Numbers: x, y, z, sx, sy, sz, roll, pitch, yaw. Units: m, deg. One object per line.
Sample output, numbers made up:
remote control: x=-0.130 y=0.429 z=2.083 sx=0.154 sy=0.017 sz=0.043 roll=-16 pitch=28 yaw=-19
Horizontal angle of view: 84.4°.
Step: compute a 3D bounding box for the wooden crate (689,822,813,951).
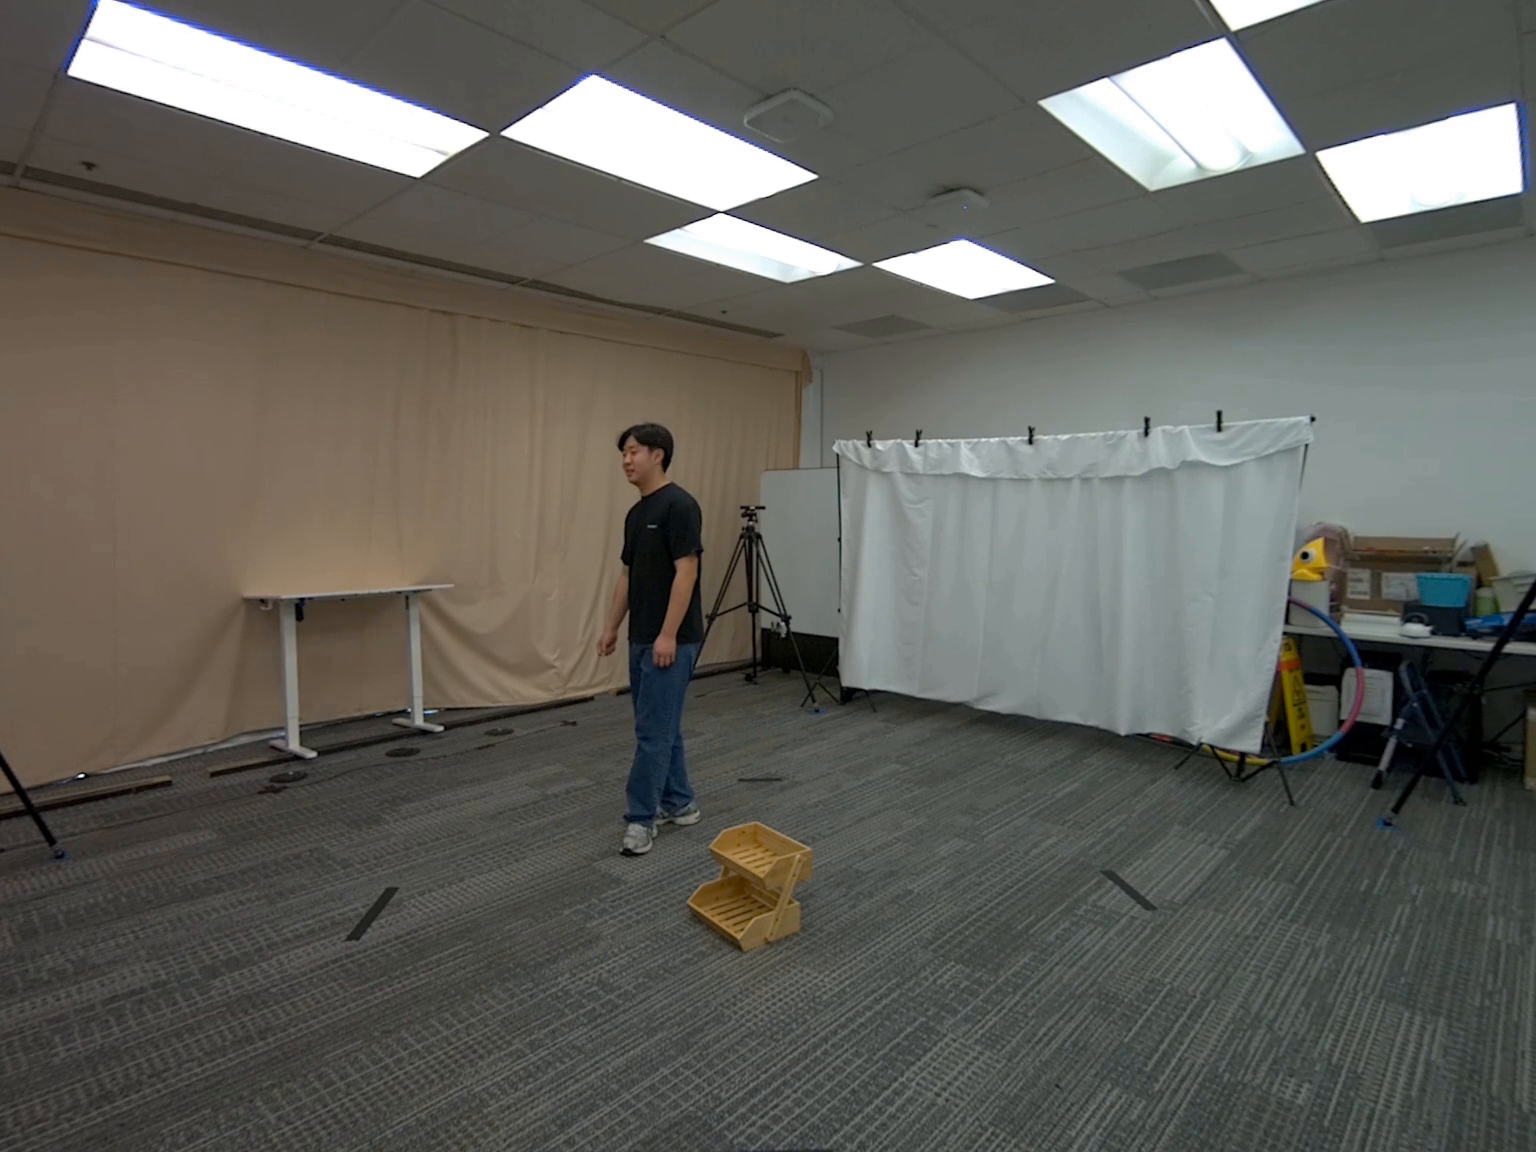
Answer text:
wooden crate: x=-0.063 y=1.024 z=2.817 sx=0.293 sy=0.273 sz=0.335 roll=-2 pitch=4 yaw=-37
